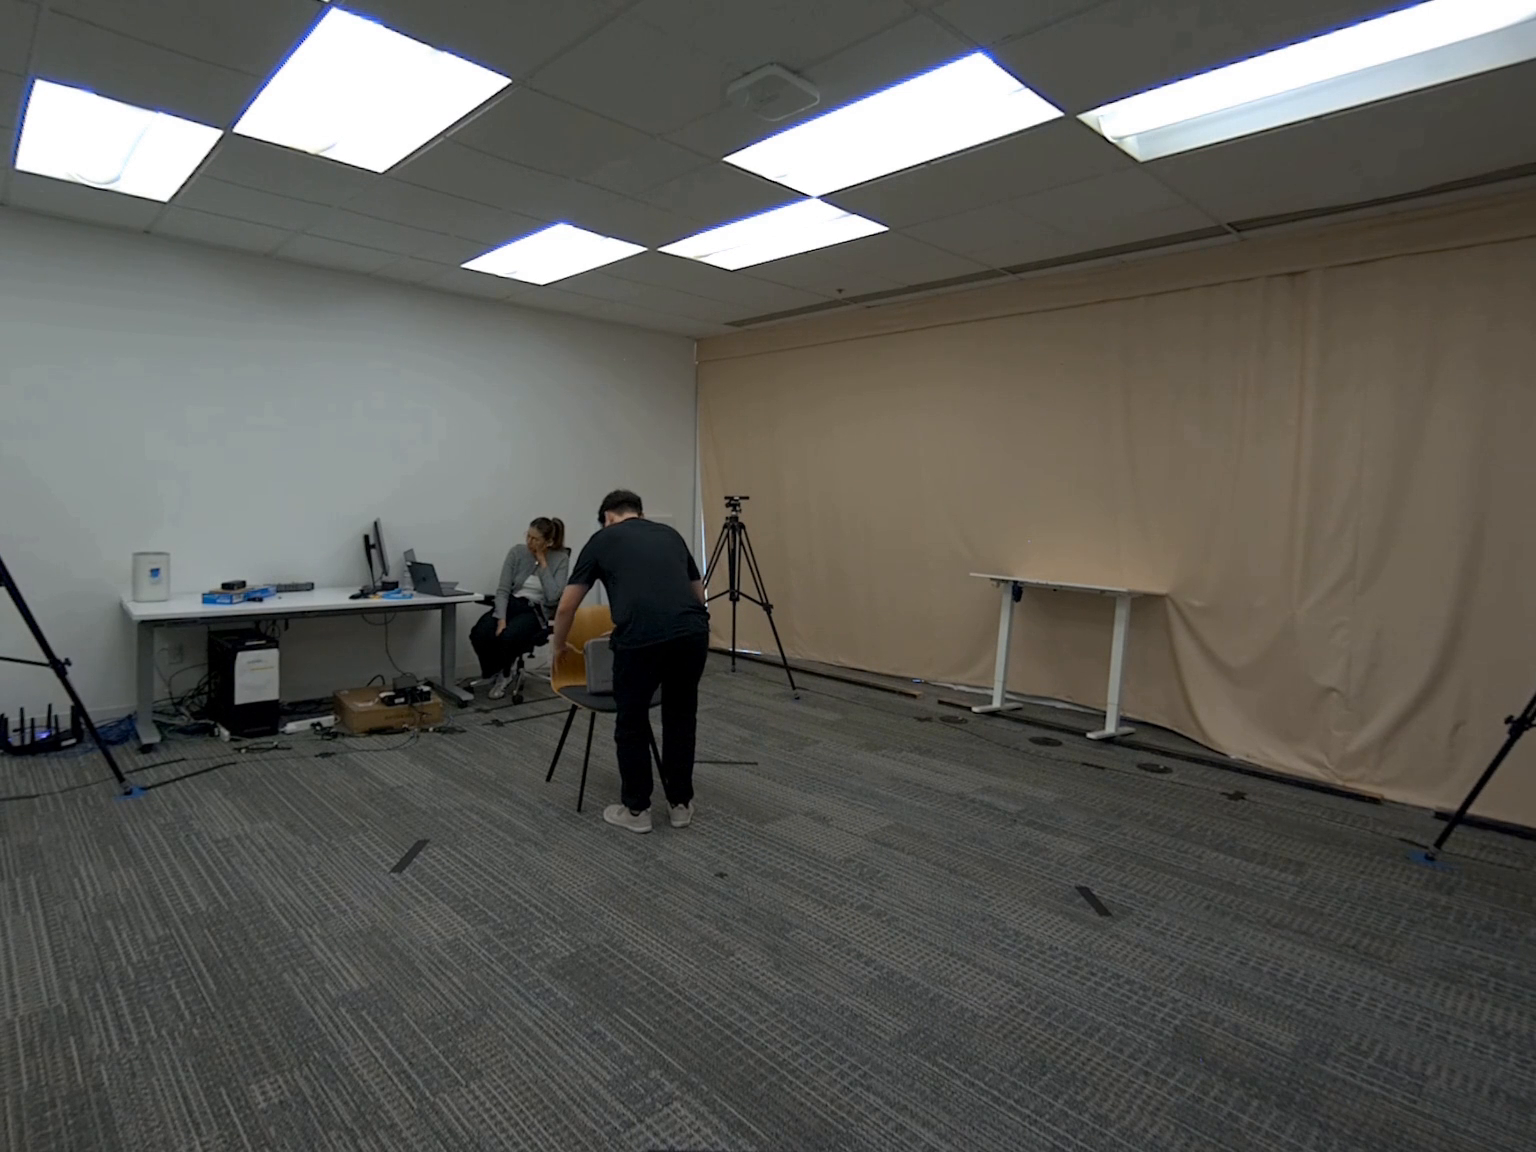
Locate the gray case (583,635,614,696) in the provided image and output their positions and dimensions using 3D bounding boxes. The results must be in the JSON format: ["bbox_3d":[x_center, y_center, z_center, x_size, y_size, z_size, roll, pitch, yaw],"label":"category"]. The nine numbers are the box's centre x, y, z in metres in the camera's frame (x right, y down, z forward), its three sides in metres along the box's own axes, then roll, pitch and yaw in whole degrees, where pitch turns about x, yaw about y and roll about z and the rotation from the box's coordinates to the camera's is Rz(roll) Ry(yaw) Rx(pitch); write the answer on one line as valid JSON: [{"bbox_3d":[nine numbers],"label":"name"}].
[{"bbox_3d":[-0.728,0.407,3.908,0.252,0.263,0.105,0,-11,-28],"label":"gray case"}]
